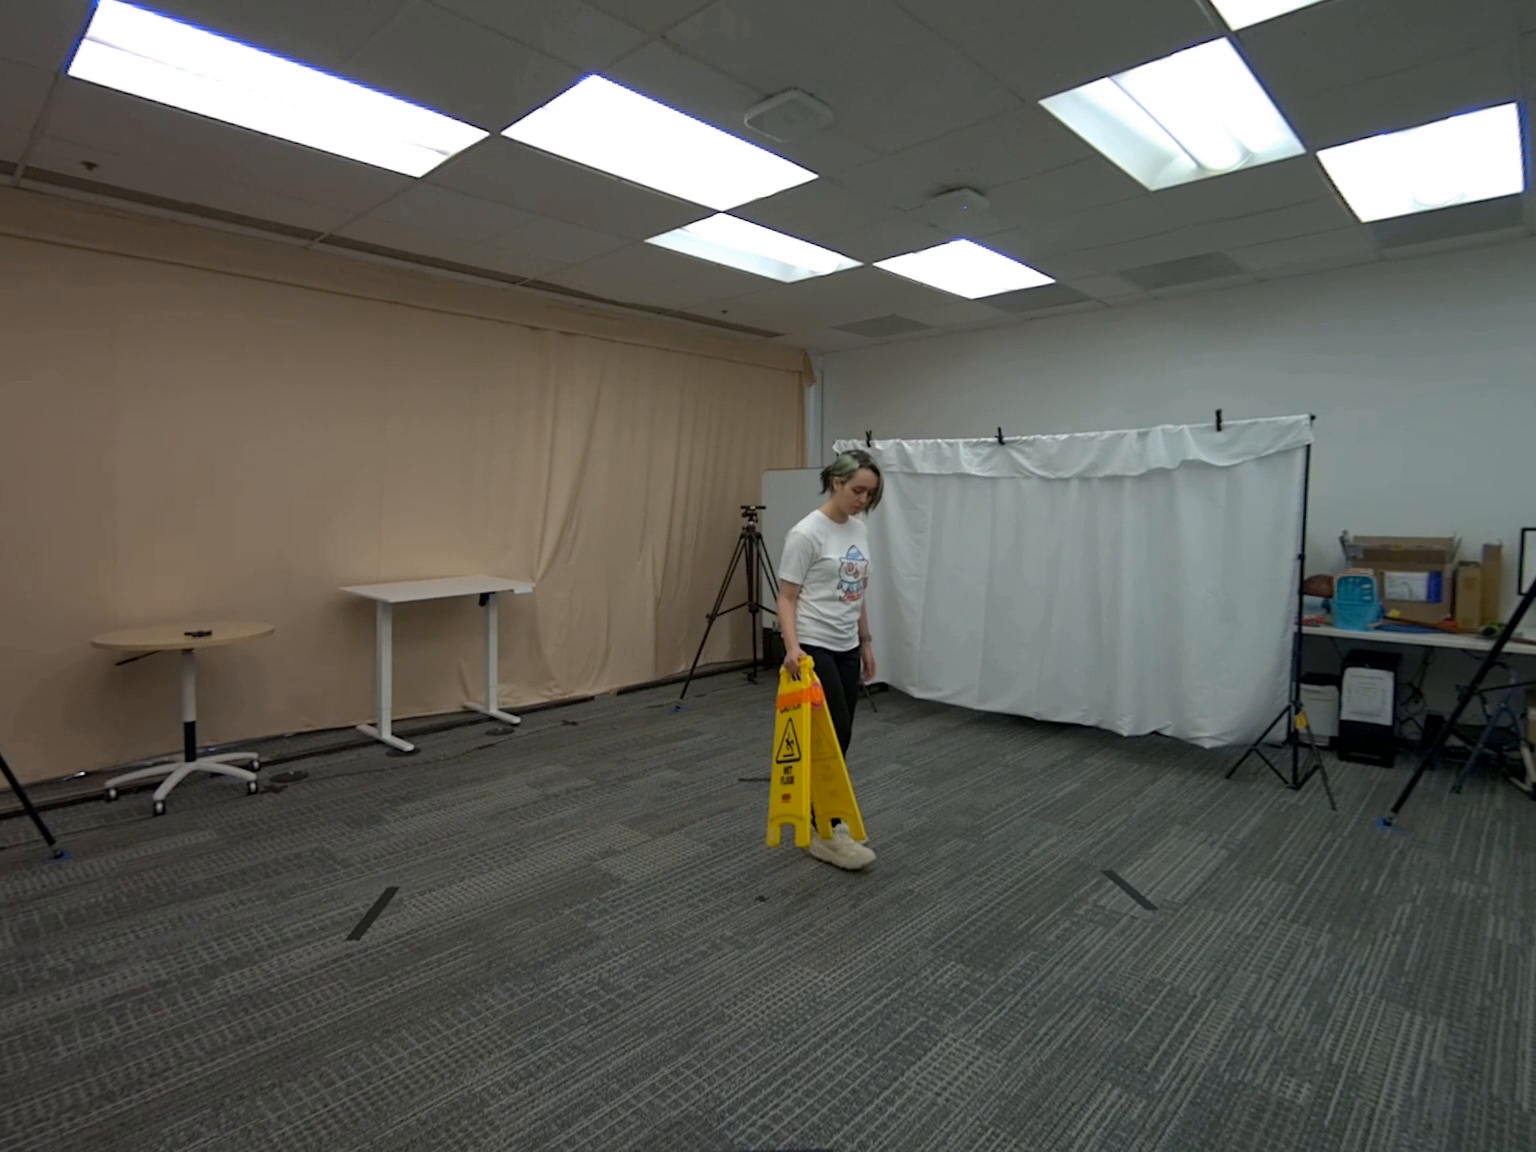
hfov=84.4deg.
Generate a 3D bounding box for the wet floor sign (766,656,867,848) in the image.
[{"bbox_3d":[0.142,0.630,3.060,0.282,0.653,0.287,2,-16,-30],"label":"wet floor sign"}]
